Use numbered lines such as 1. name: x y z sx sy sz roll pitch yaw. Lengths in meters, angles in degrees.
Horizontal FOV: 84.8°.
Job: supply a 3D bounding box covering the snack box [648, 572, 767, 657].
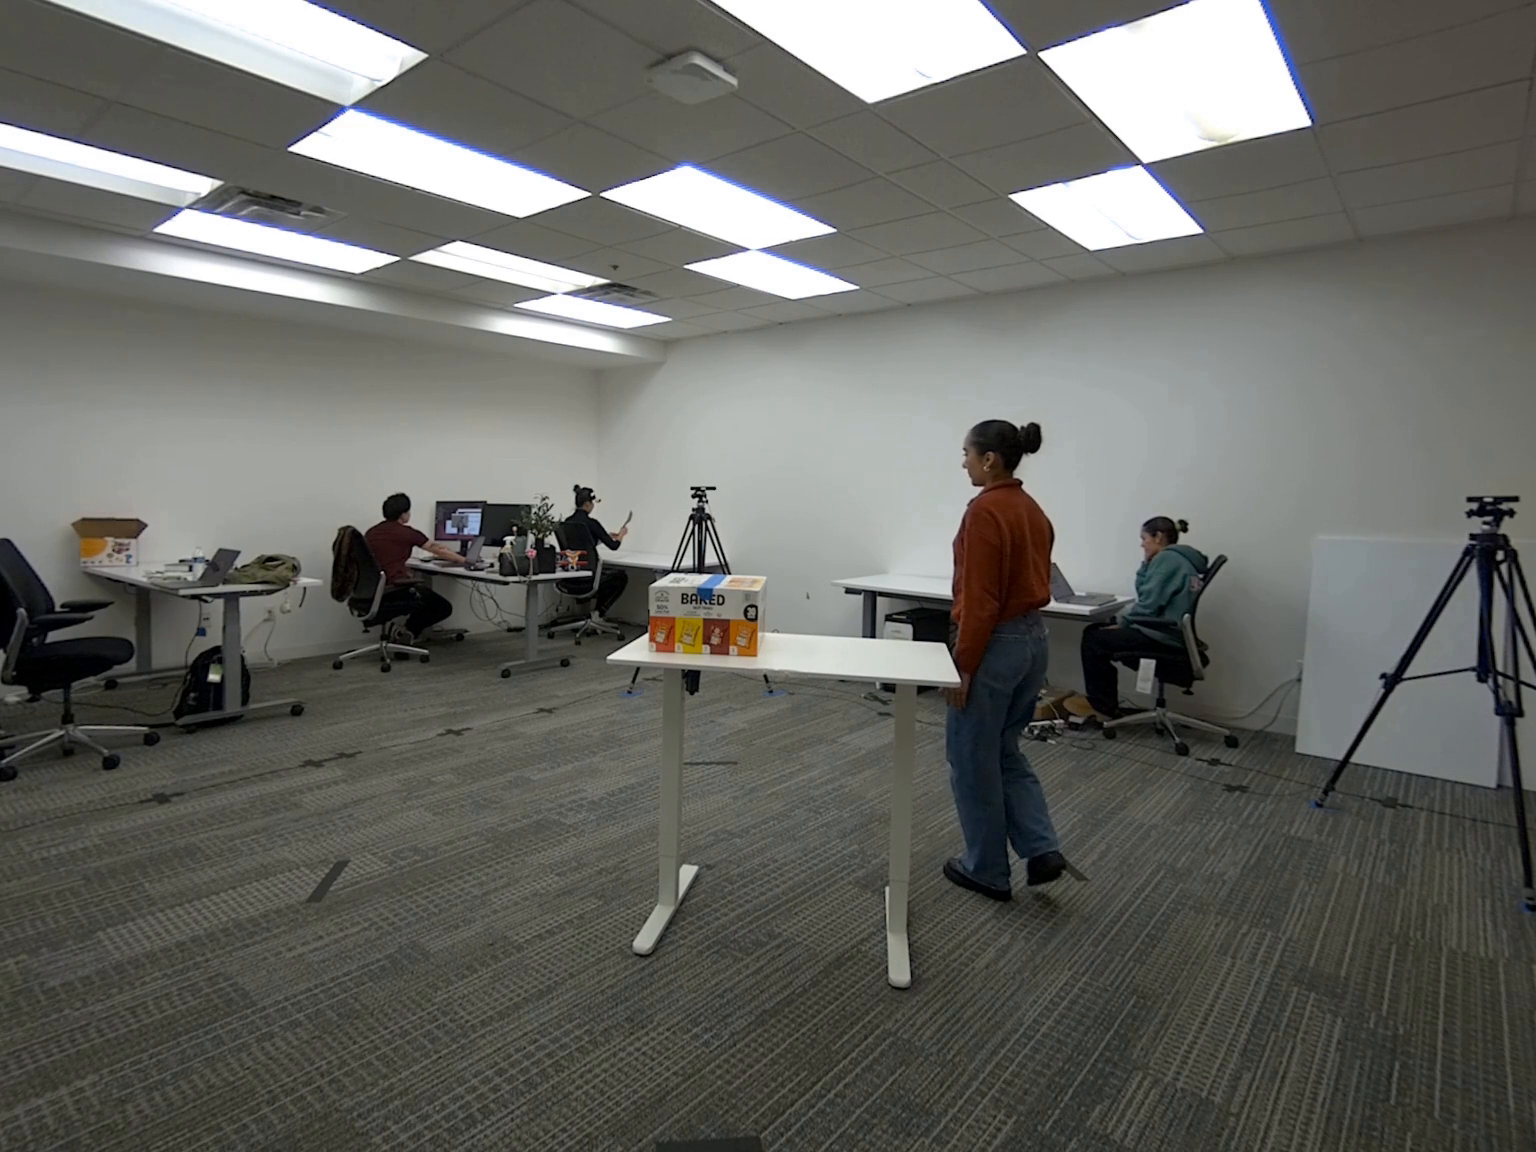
1. snack box: -0.193 0.115 2.779 0.343 0.205 0.404 2 6 5
